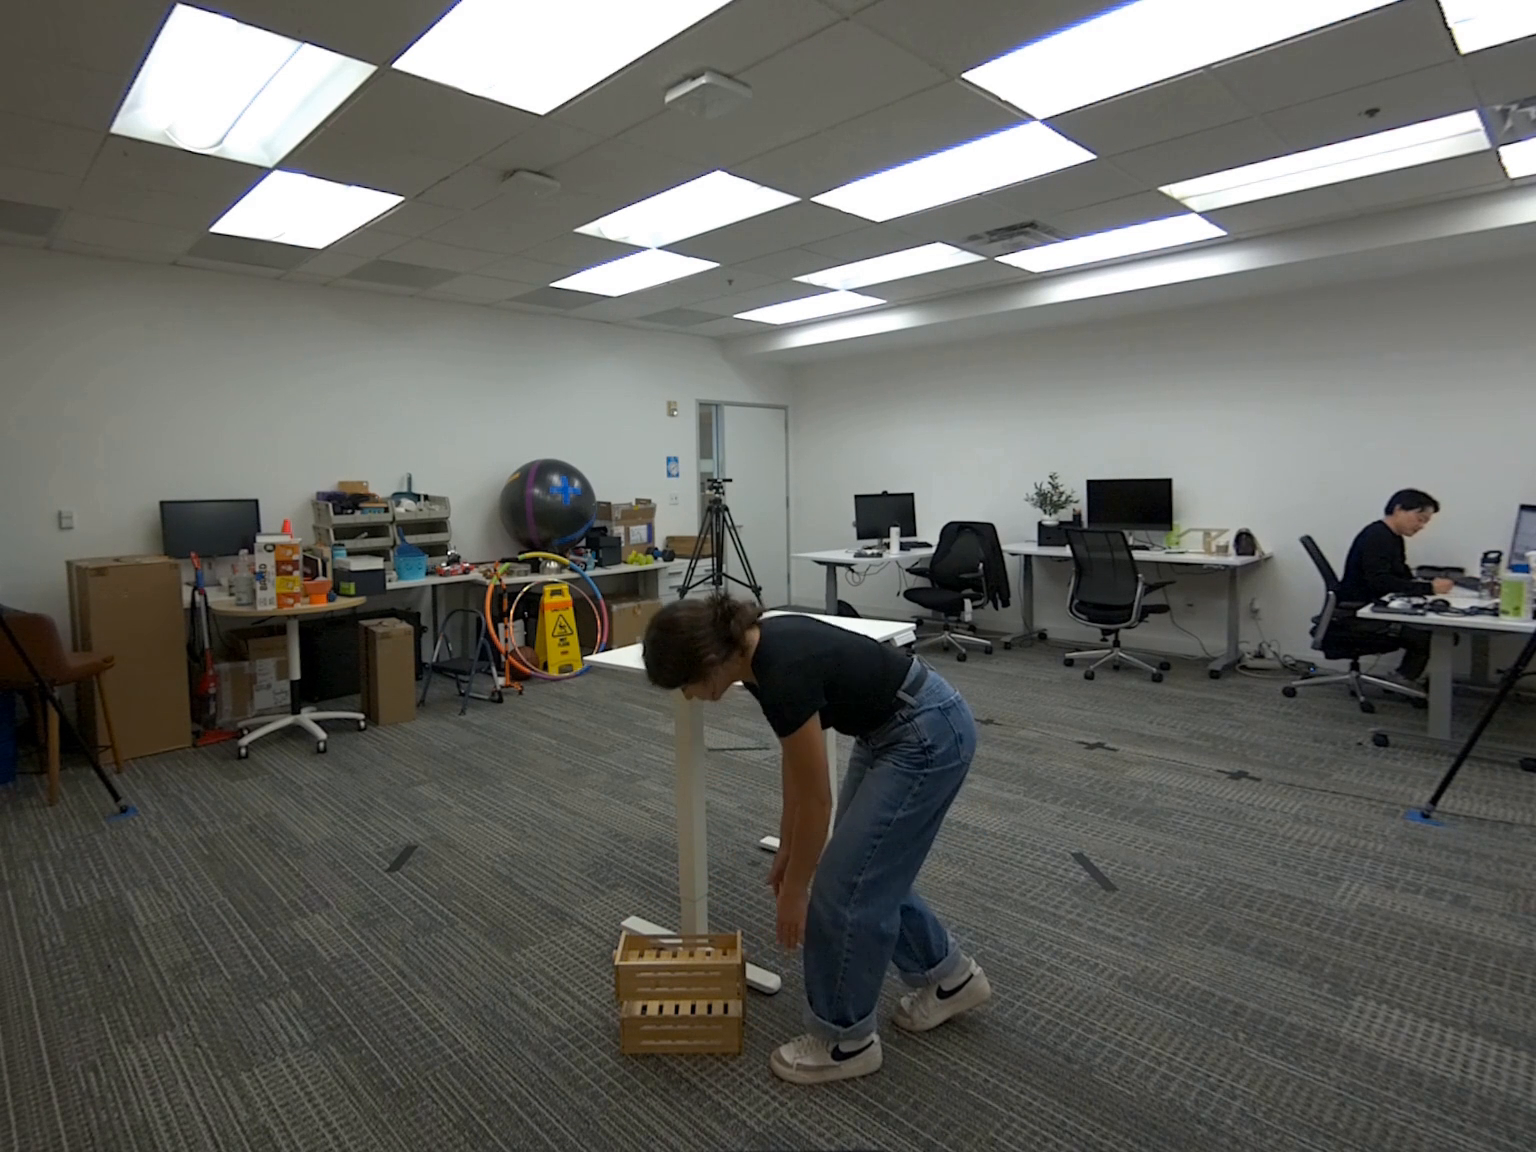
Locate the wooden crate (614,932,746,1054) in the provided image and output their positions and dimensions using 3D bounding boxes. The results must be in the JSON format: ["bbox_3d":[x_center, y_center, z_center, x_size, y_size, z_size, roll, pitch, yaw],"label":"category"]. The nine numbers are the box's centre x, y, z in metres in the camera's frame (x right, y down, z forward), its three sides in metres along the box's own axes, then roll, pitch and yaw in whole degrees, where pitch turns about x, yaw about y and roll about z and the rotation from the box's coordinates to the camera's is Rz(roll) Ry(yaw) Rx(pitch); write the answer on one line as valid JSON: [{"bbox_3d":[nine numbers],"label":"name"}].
[{"bbox_3d":[-0.207,1.015,2.194,0.324,0.272,0.304,-1,6,-1],"label":"wooden crate"}]
